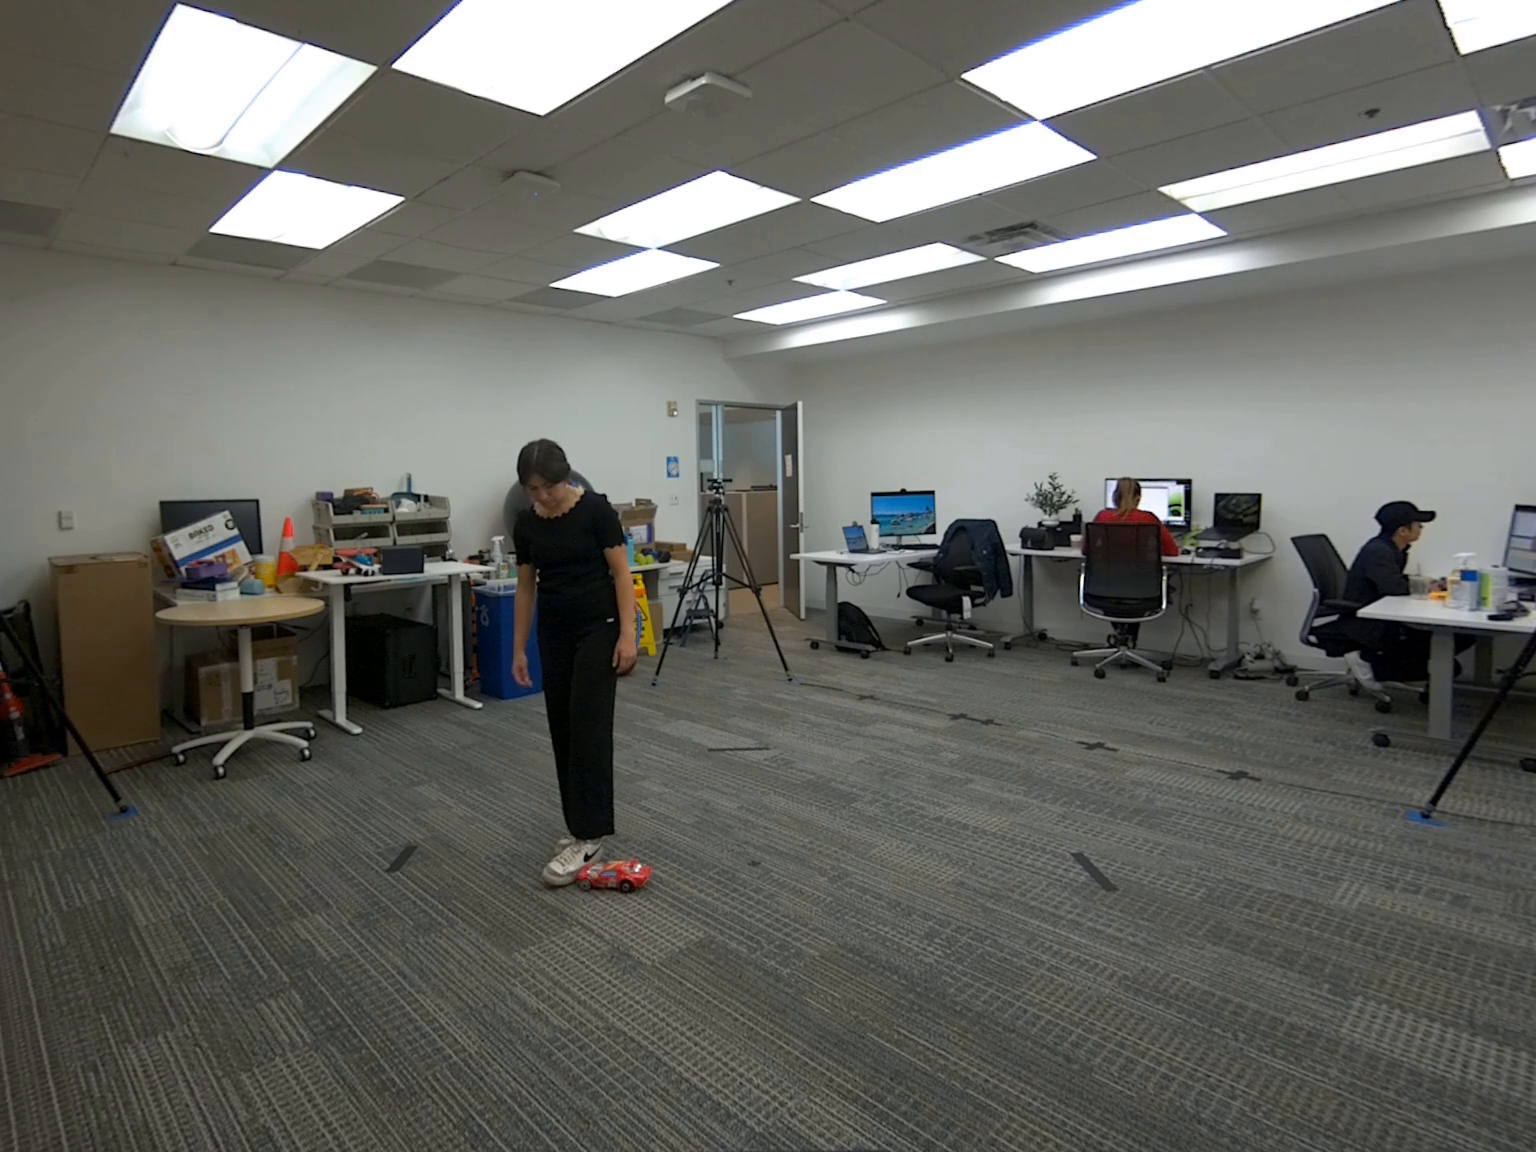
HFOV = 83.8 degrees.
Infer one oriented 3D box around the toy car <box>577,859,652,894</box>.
[{"bbox_3d":[-0.517,1.039,2.952,0.256,0.083,0.130,-13,3,9],"label":"toy car"}]
